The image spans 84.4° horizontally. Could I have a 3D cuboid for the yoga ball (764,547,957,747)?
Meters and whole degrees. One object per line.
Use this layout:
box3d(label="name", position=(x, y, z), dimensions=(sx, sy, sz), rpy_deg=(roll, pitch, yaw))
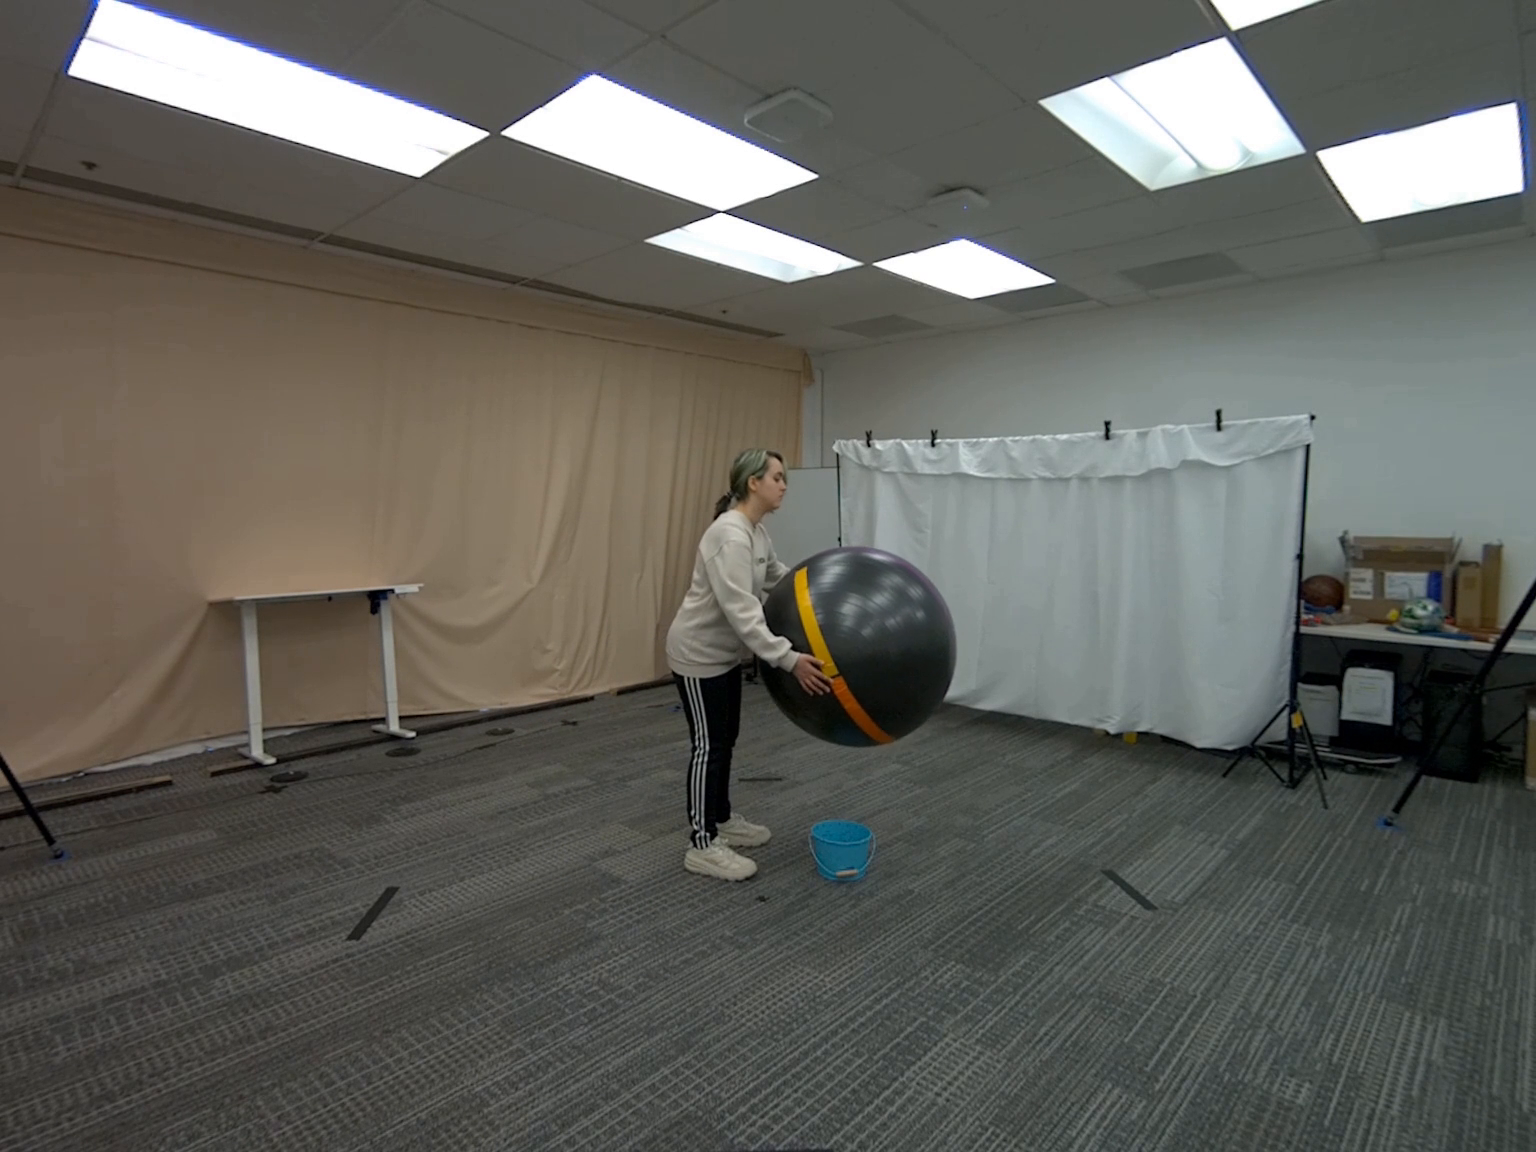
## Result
box3d(label="yoga ball", position=(0.335, 0.272, 3.226), dimensions=(0.757, 0.756, 0.761), rpy_deg=(0, 4, -2))
